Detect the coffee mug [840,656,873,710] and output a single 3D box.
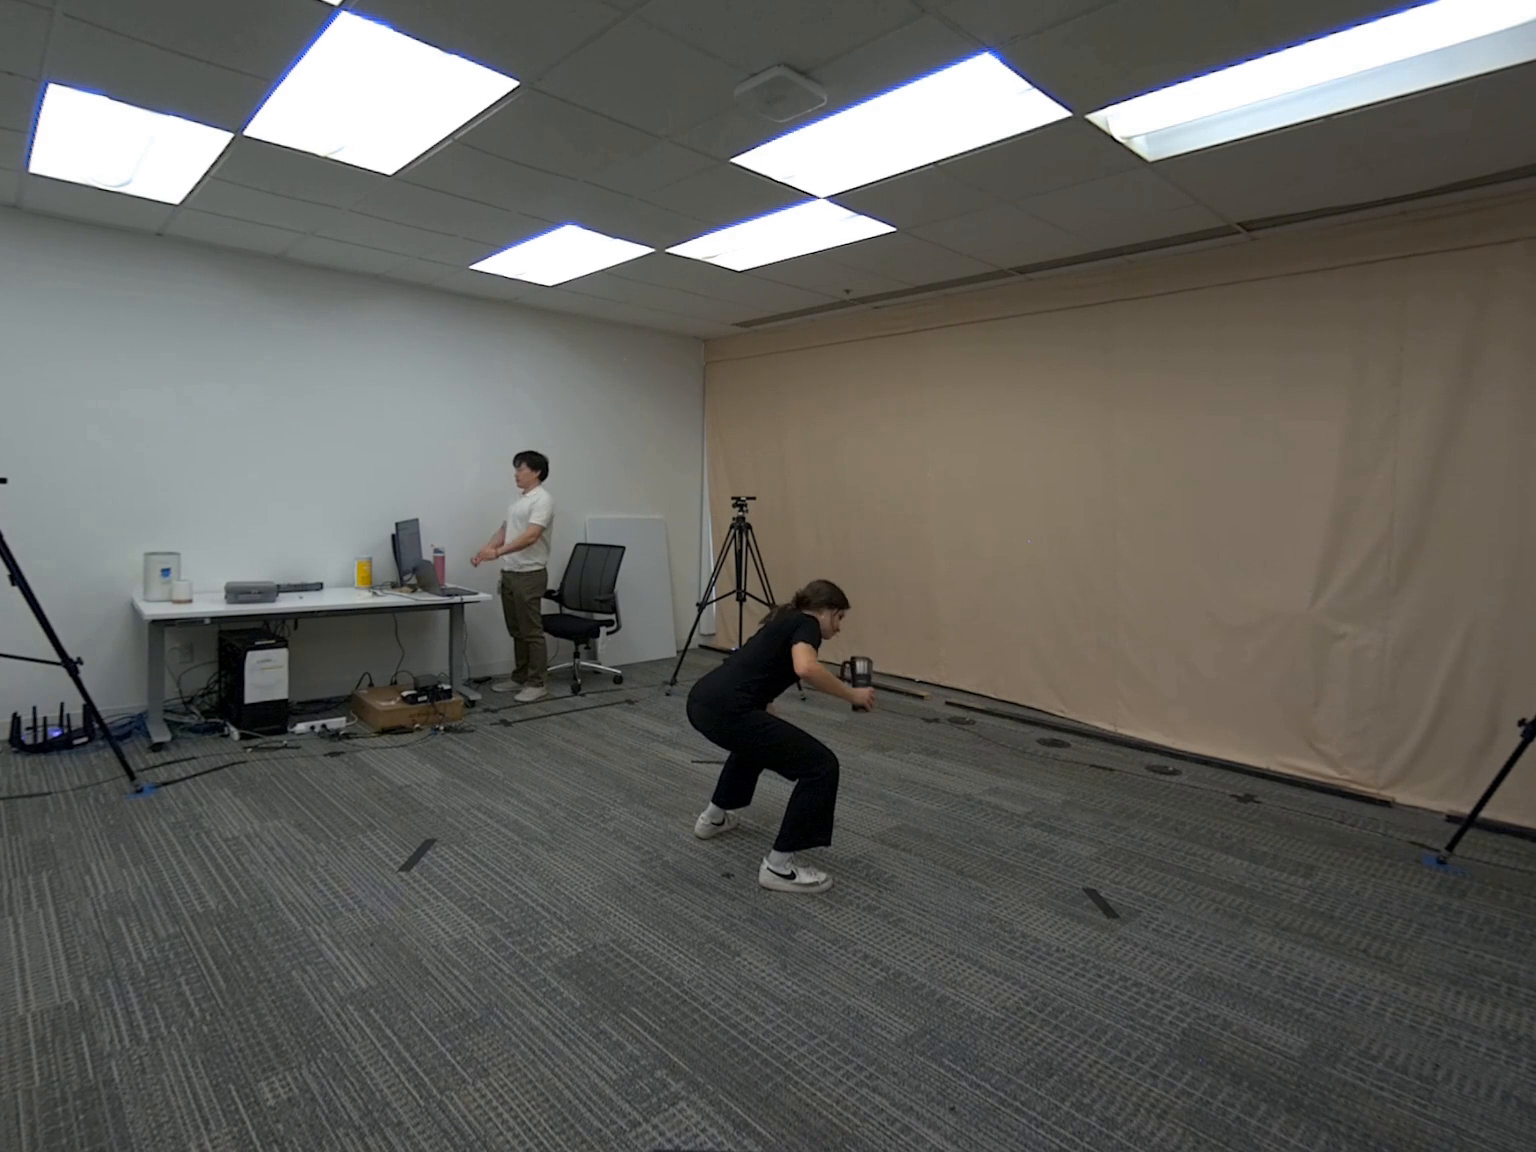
[{"bbox_3d":[0.311,0.410,3.197,0.122,0.205,0.086,6,-18,5],"label":"coffee mug"}]
